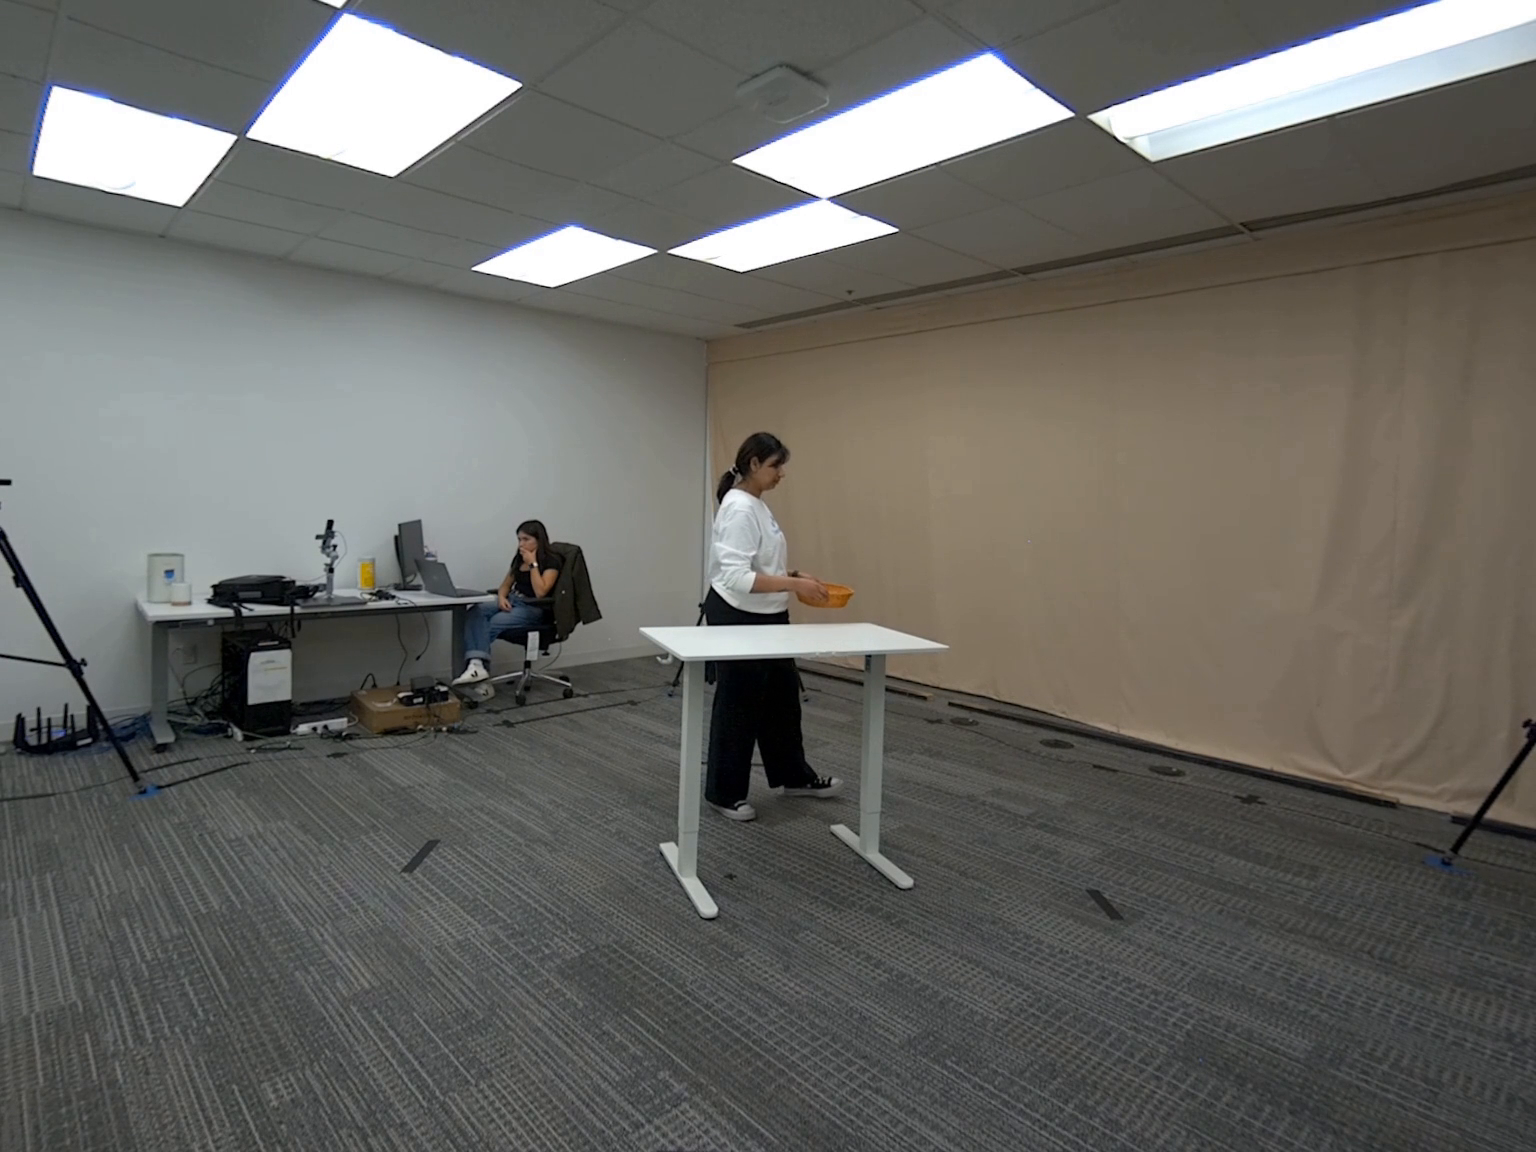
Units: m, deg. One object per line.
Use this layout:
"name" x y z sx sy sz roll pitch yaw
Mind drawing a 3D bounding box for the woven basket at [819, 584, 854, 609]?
"woven basket" 0.220 0.082 3.705 0.250 0.073 0.355 1 7 -12
